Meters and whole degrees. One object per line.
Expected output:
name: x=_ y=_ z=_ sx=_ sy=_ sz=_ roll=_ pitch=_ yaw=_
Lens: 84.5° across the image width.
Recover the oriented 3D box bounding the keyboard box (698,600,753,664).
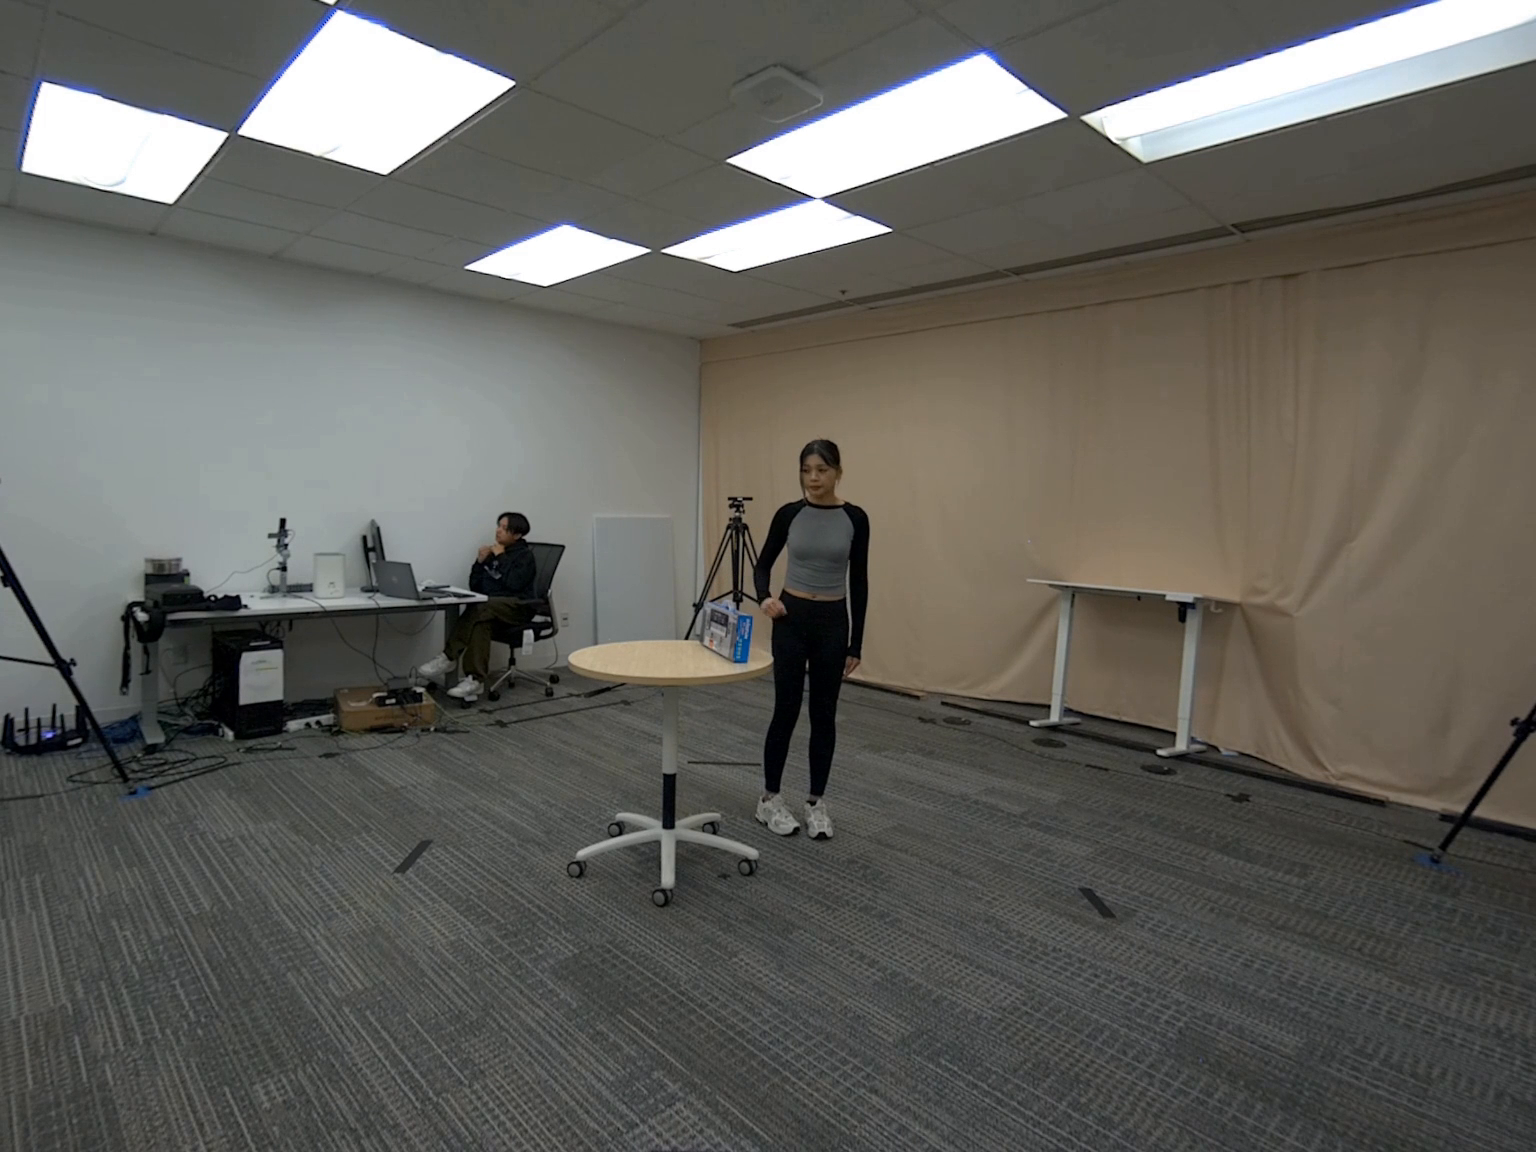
keyboard box: x=-0.174 y=0.212 z=3.258 sx=0.058 sy=0.176 sz=0.444 roll=7 pitch=2 yaw=-20
